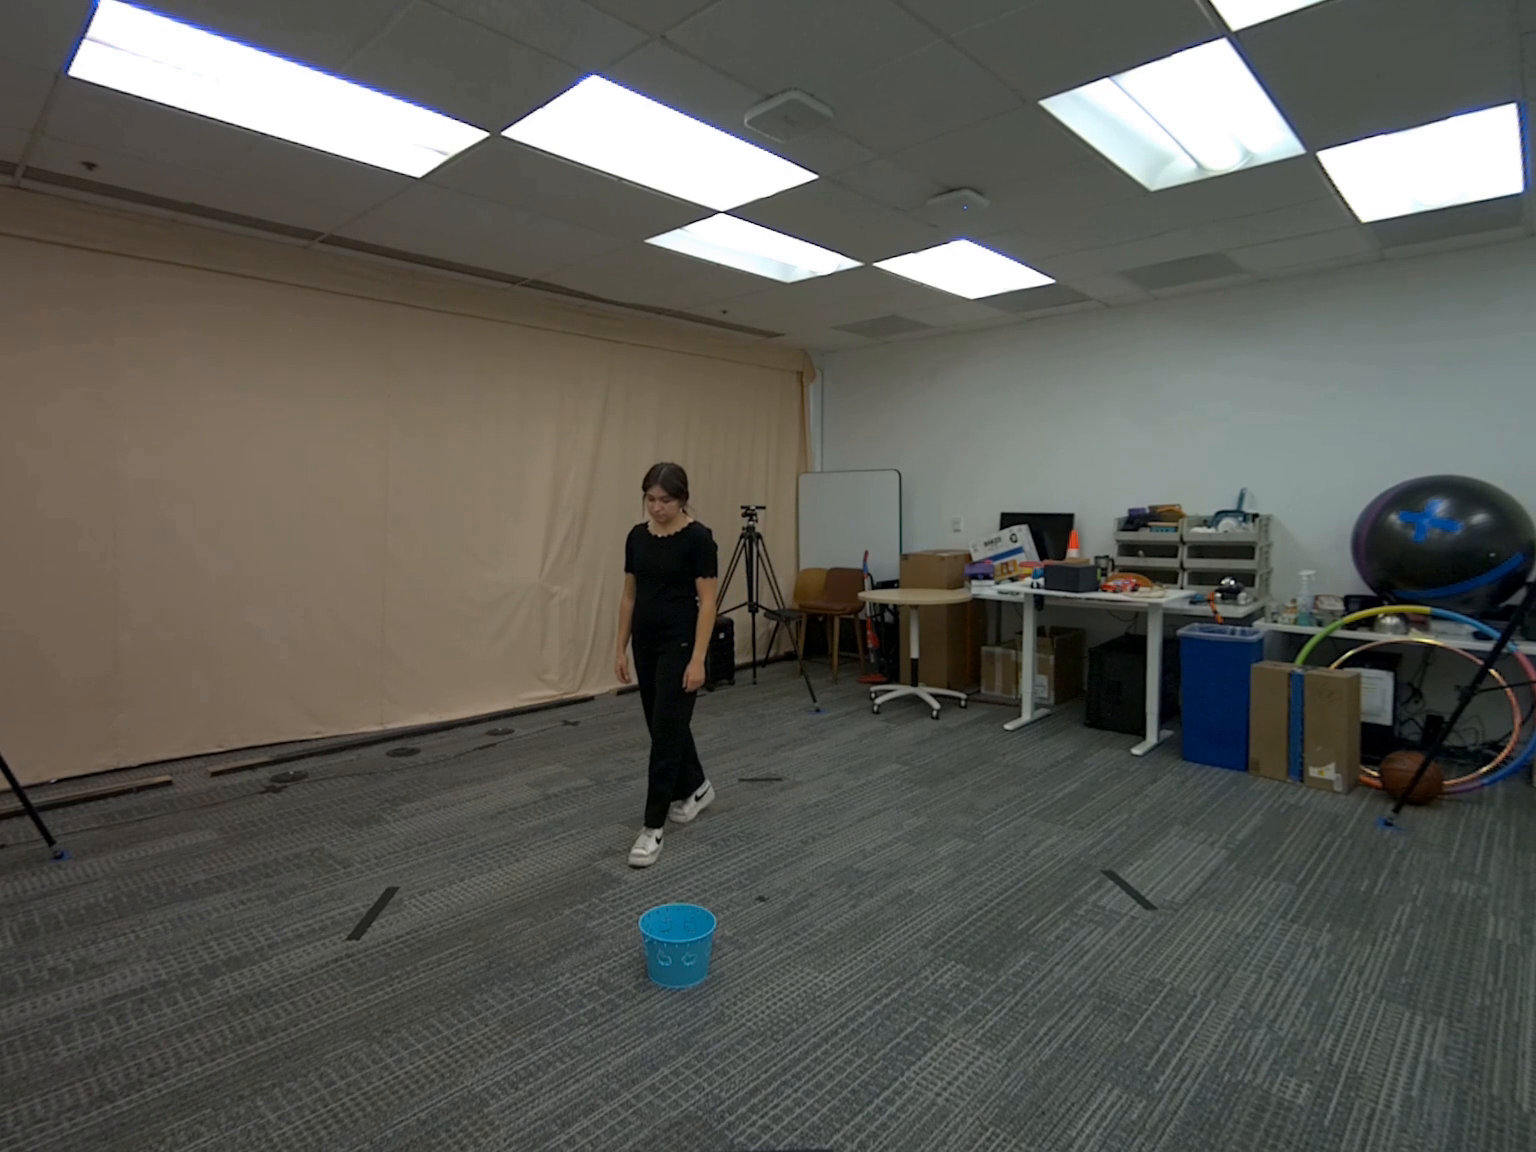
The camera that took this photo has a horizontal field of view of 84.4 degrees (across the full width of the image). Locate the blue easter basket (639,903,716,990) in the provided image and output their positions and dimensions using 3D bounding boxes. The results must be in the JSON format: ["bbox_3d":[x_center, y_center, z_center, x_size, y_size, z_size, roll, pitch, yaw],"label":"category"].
[{"bbox_3d":[-0.267,1.104,2.522,0.243,0.155,0.244,0,4,-2],"label":"blue easter basket"}]
